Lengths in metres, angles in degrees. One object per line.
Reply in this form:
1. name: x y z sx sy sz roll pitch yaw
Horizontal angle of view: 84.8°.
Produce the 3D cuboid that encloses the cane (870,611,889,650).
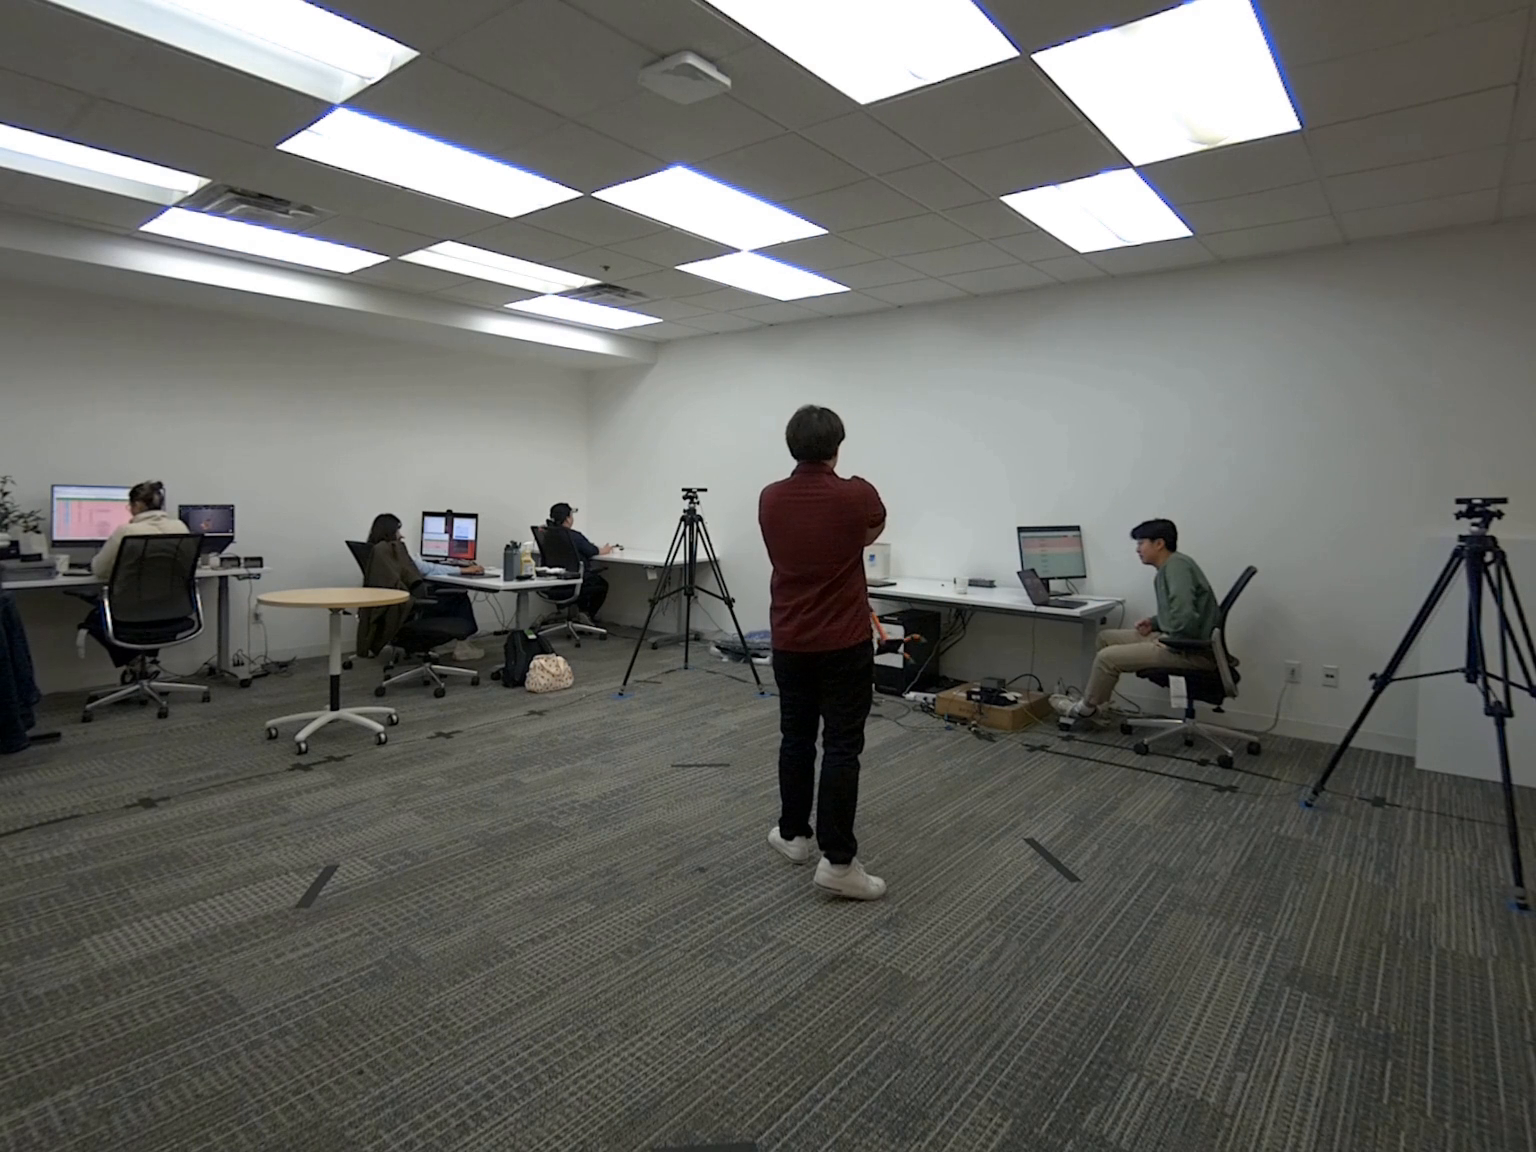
1. cane: 0.335 -0.021 3.504 0.202 0.149 0.944 -3 44 -23
